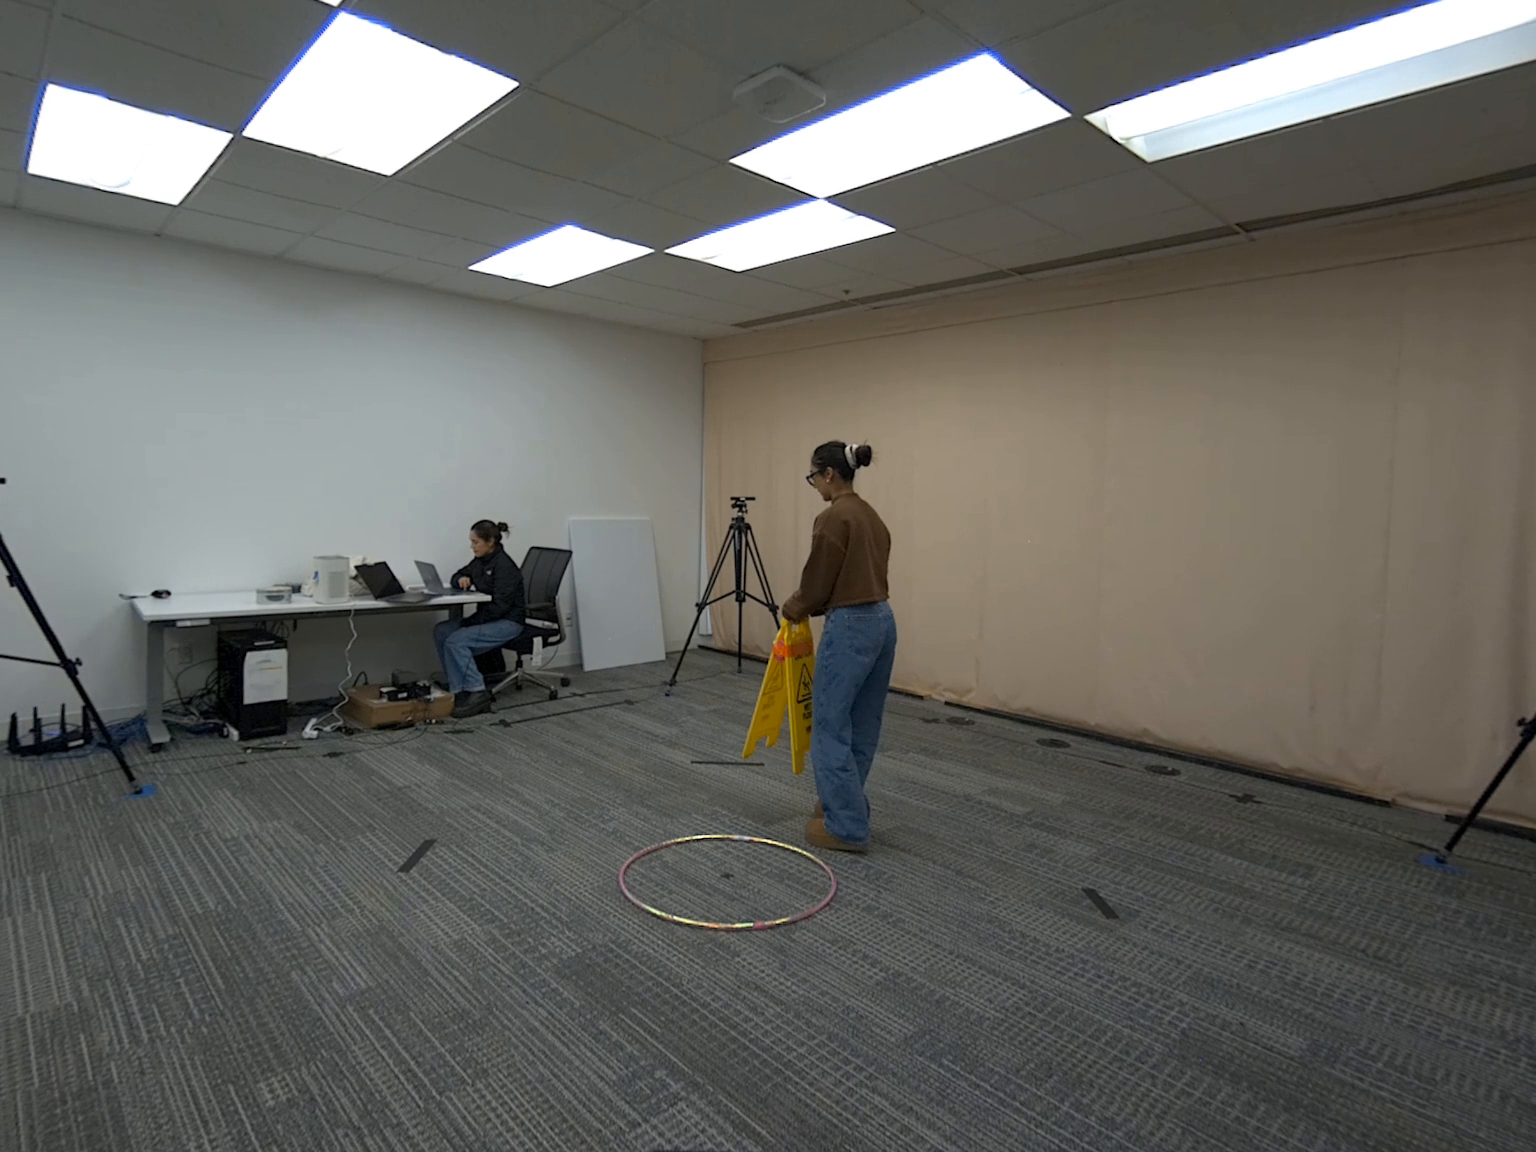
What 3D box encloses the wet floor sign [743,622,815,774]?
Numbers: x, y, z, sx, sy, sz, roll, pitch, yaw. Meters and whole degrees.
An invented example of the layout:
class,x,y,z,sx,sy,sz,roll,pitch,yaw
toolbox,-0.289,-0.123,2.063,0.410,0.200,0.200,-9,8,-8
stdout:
class,x,y,z,sx,sy,sz,roll,pitch,yaw
wet floor sign,0.085,0.476,3.648,0.296,0.644,0.276,6,4,32
